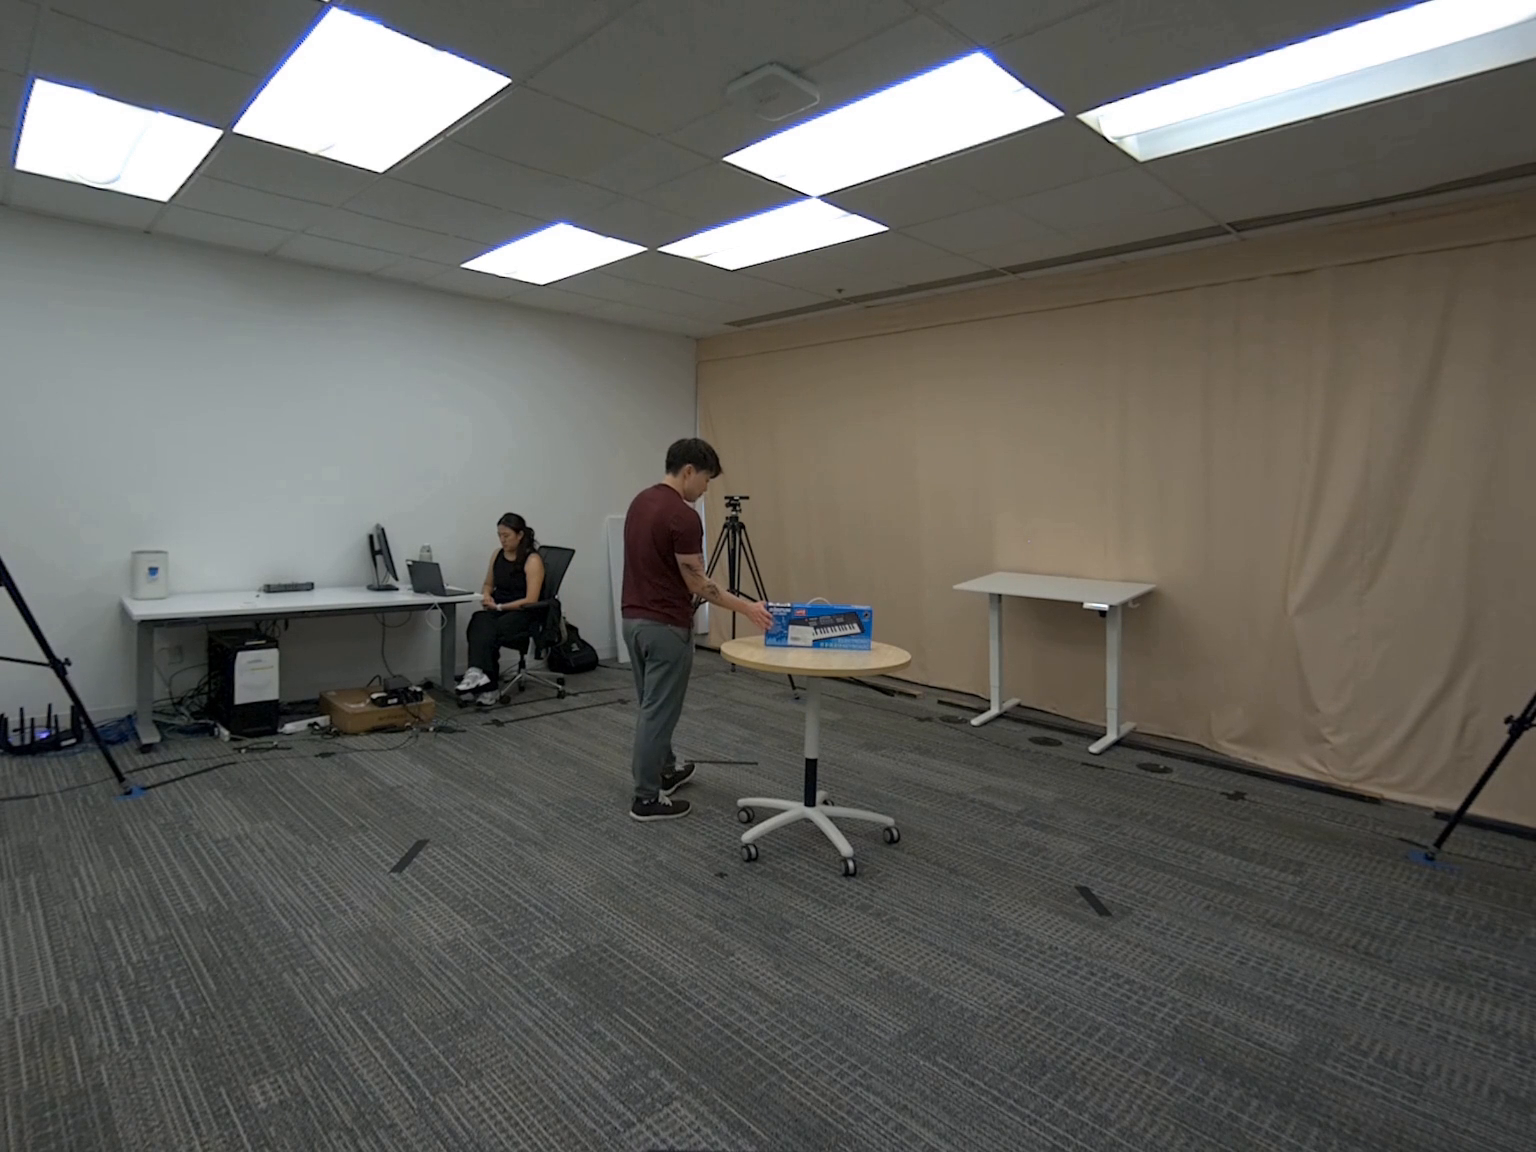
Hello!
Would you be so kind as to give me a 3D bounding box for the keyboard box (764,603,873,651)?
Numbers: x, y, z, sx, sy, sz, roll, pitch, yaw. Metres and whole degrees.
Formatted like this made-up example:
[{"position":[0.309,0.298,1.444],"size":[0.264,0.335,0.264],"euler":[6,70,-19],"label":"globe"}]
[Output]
[{"position":[0.206,0.207,3.485],"size":[0.437,0.174,0.059],"euler":[1,10,2],"label":"keyboard box"}]
